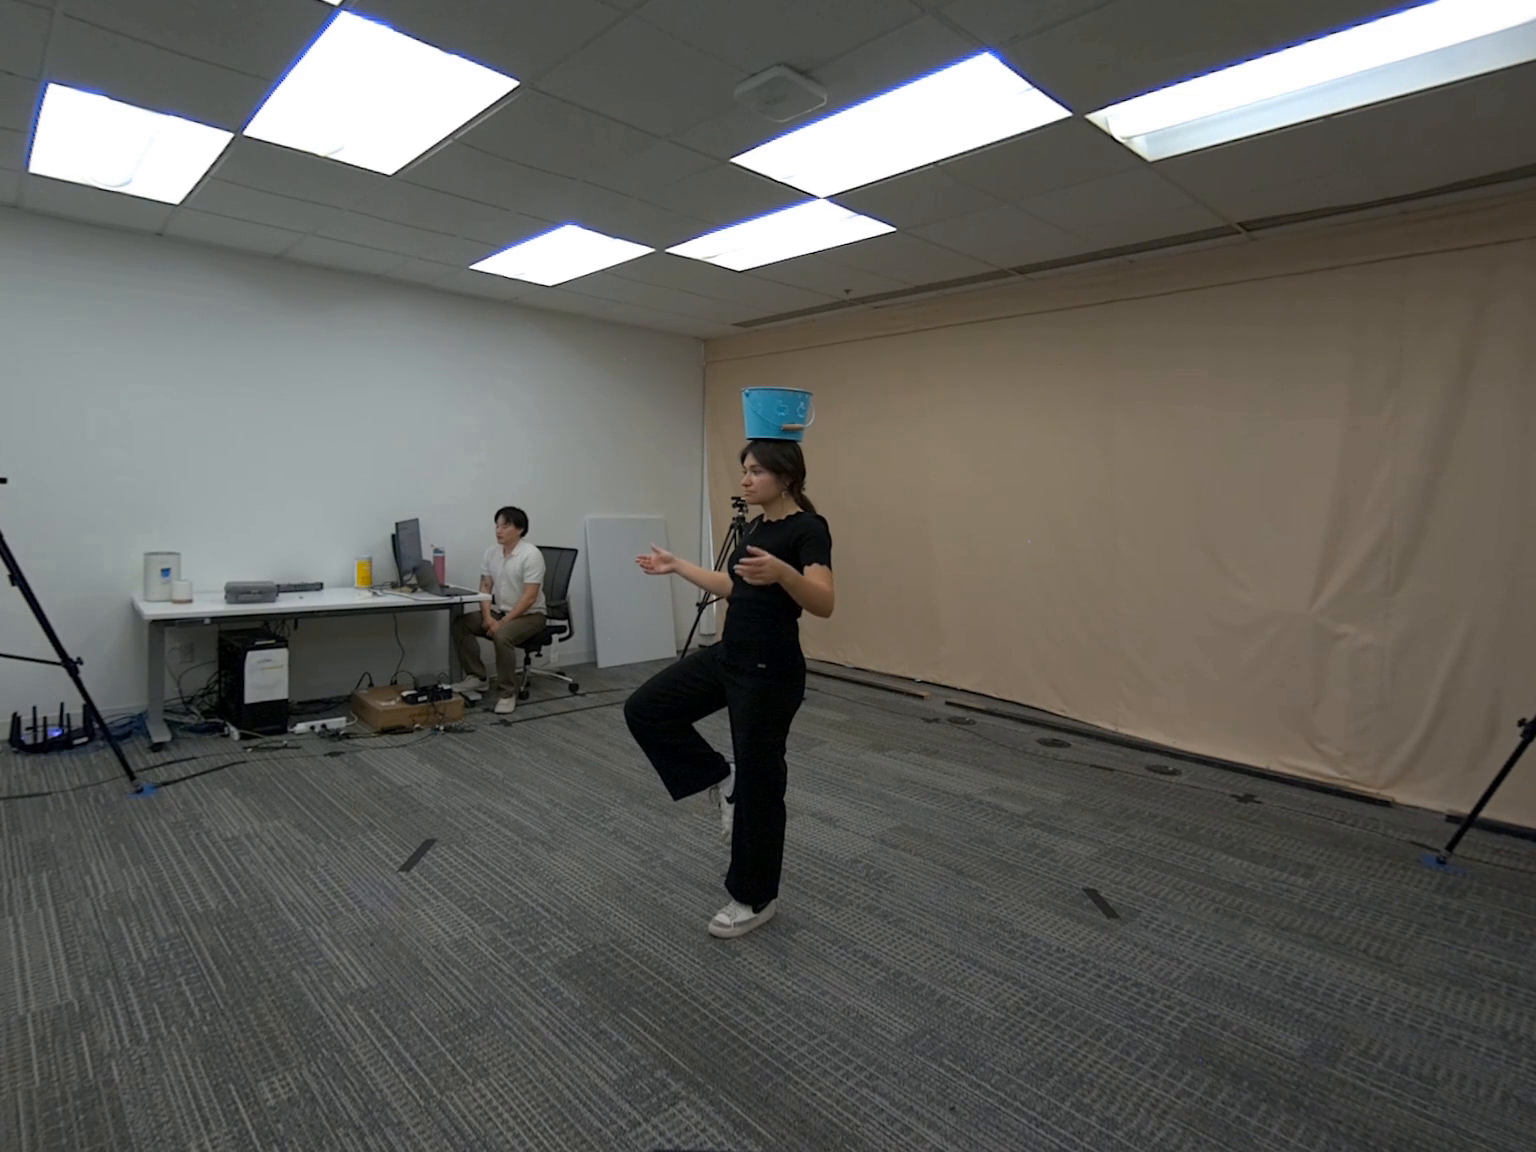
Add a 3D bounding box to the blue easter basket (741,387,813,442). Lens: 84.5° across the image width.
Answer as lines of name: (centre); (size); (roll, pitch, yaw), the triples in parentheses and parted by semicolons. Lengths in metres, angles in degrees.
blue easter basket: (0.027, -0.508, 2.660); (0.243, 0.155, 0.244); (2, 5, -2)
